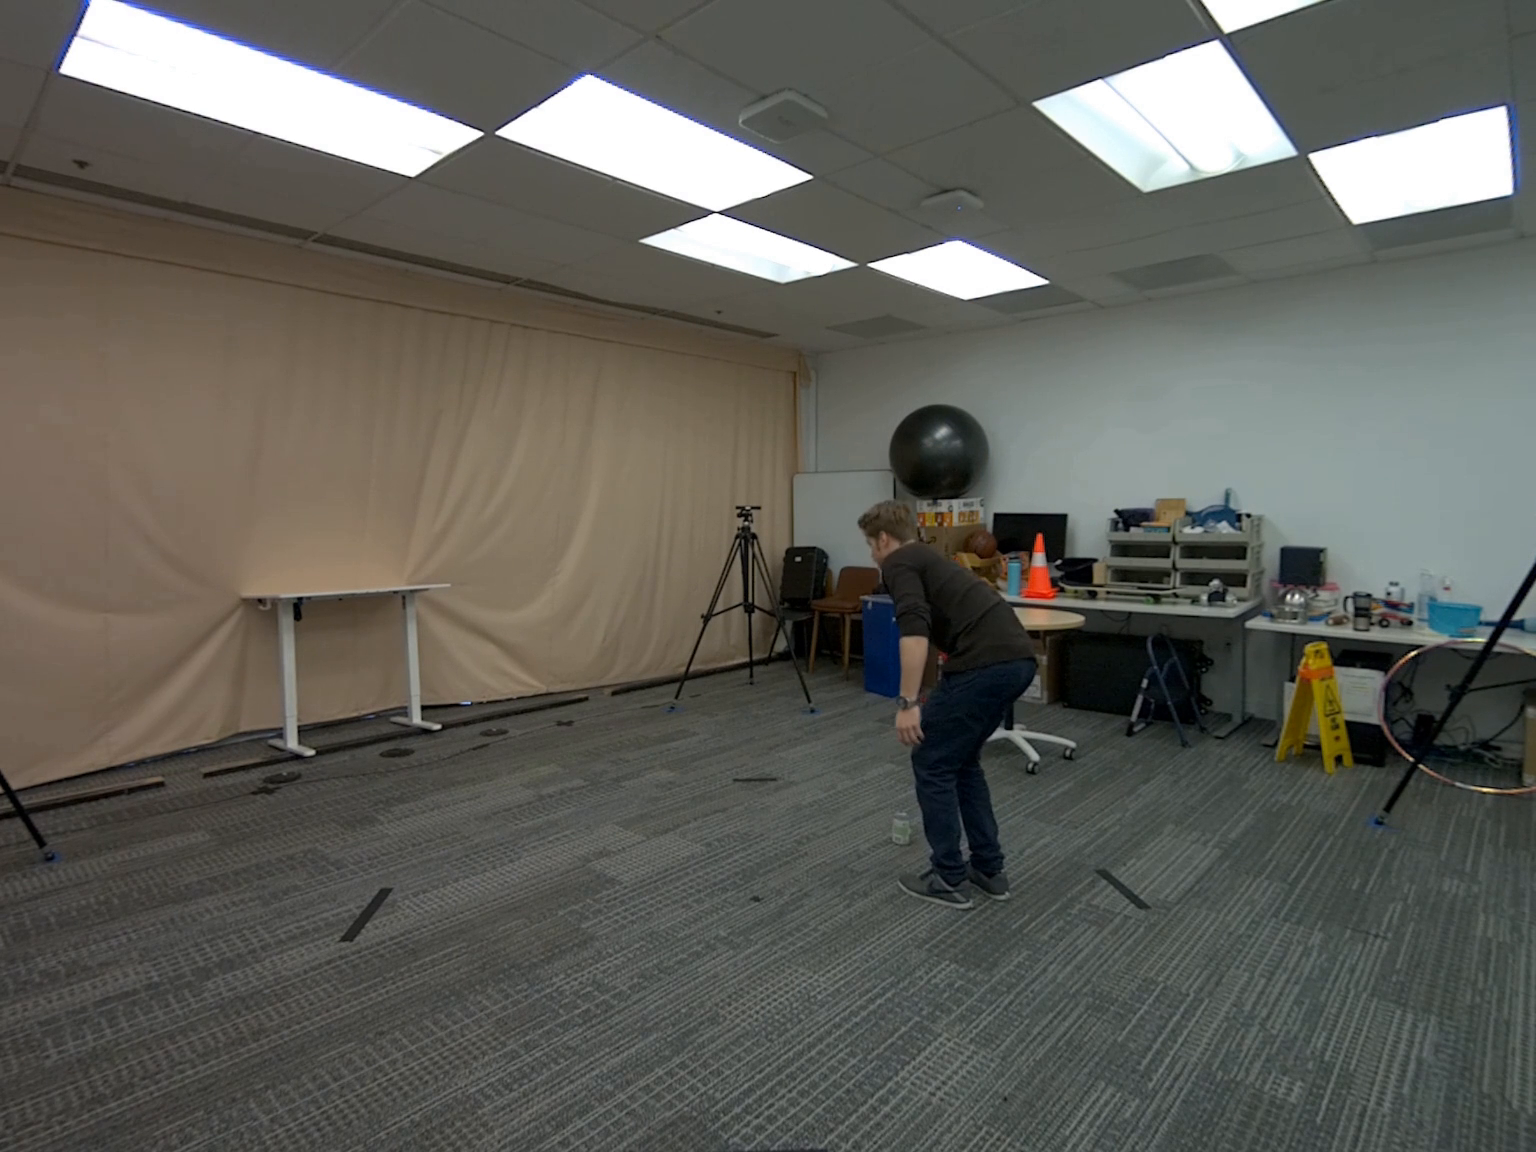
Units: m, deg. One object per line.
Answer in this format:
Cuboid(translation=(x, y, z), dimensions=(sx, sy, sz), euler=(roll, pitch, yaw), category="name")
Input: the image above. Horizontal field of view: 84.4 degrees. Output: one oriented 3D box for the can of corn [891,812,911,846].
Cuboid(translation=(0.555, 1.050, 3.483), dimensions=(0.074, 0.111, 0.074), euler=(1, 3, -2), category="can of corn")
